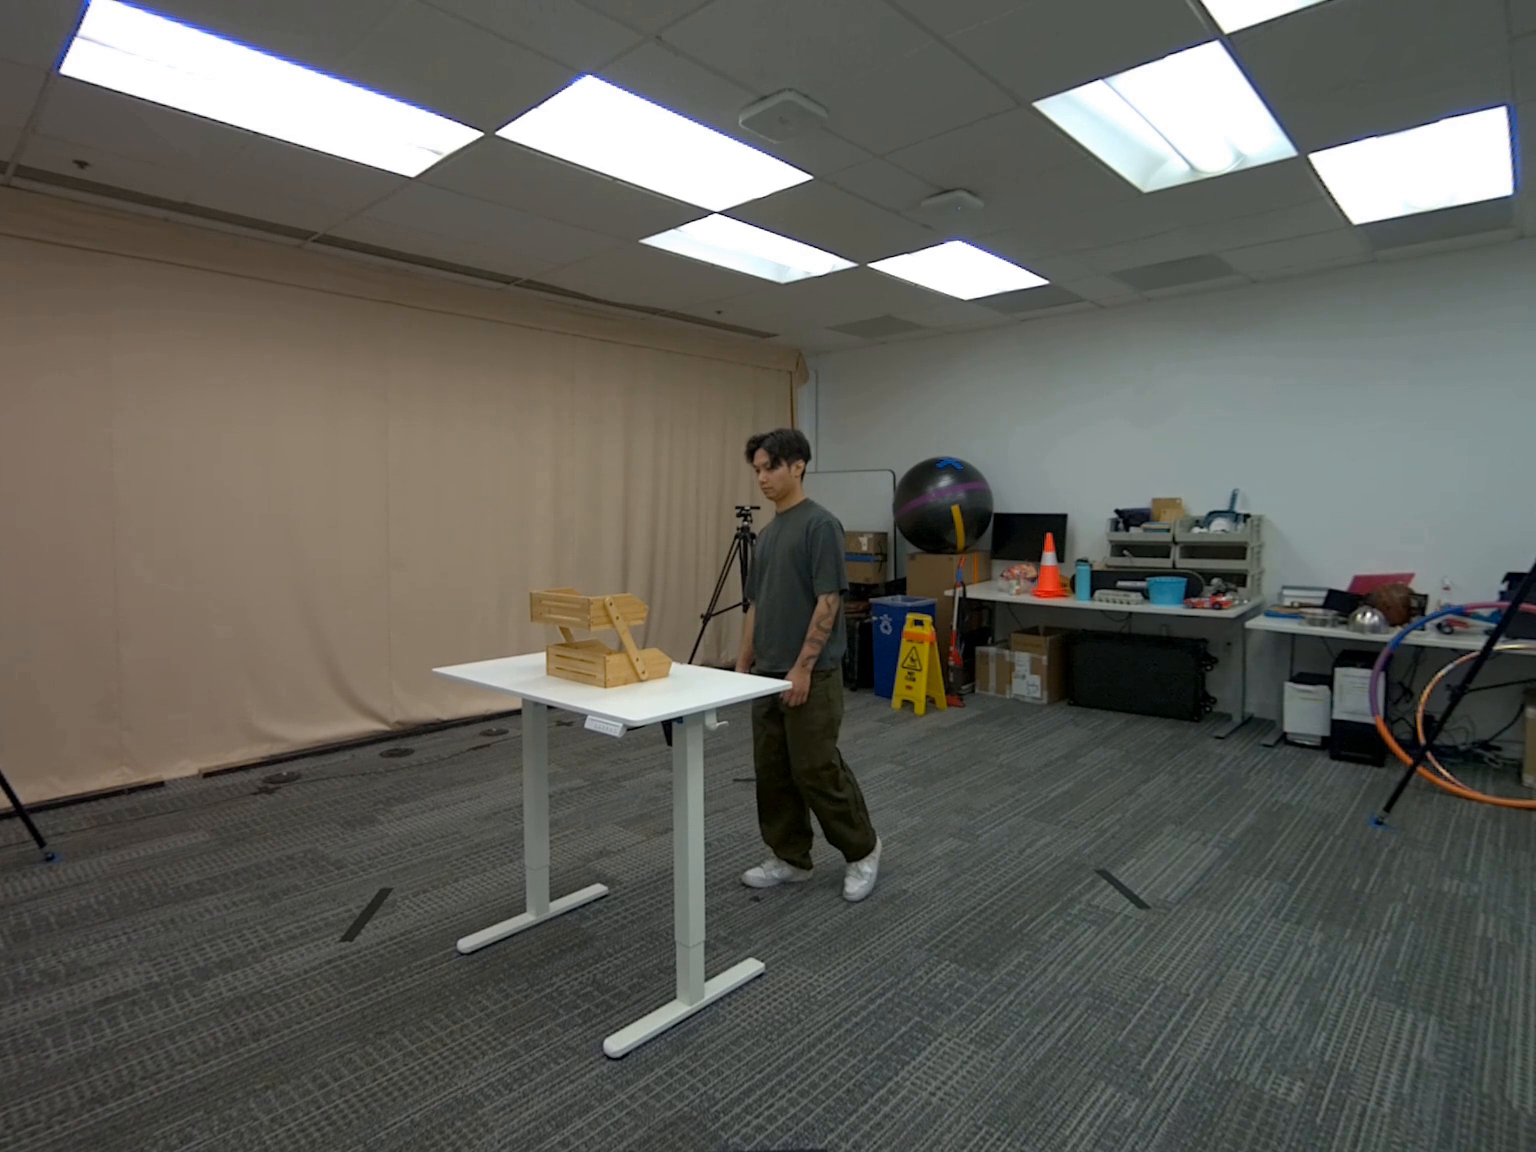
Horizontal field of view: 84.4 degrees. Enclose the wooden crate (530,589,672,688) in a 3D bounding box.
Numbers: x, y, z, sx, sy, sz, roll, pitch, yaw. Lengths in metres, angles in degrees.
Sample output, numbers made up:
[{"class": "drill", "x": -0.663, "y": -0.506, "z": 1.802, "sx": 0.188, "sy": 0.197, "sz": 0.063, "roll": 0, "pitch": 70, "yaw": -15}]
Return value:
[{"class": "wooden crate", "x": -0.498, "y": 0.170, "z": 2.526, "sx": 0.335, "sy": 0.273, "sz": 0.293, "roll": 2, "pitch": 5, "yaw": 43}]
